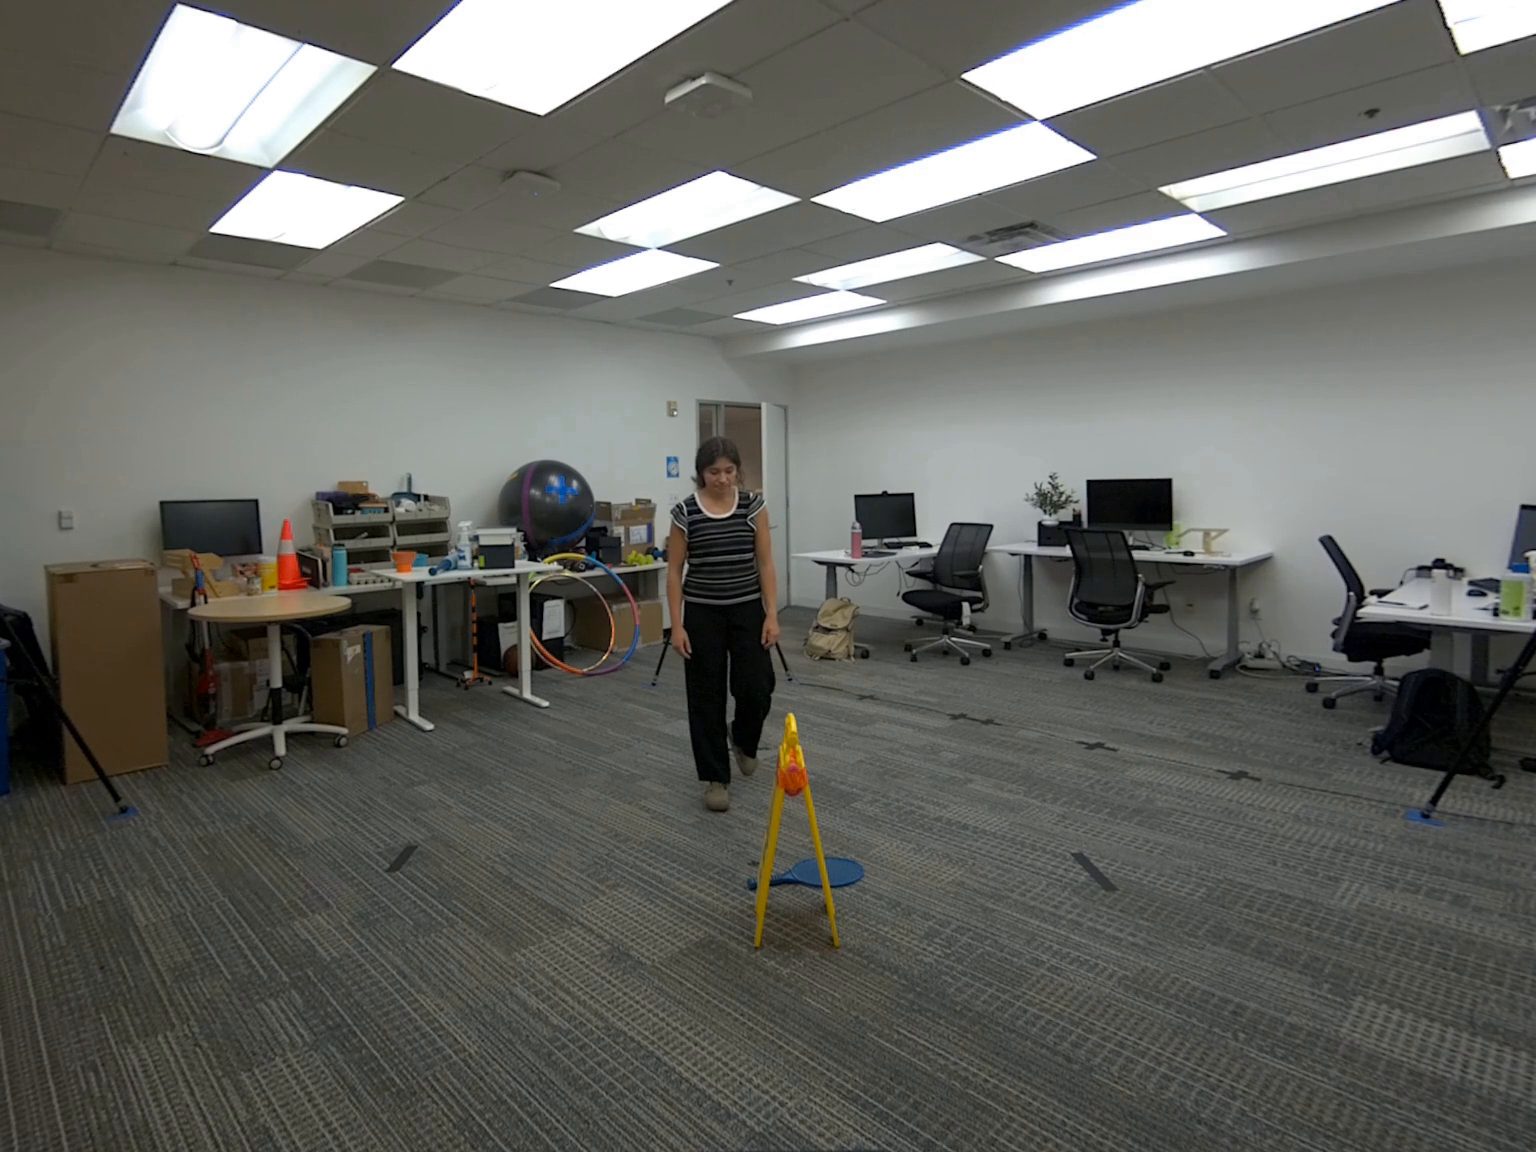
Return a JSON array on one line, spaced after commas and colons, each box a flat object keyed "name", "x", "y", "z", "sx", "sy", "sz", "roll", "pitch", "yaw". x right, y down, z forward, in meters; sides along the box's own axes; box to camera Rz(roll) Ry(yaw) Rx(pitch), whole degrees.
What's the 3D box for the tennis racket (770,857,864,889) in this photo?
[{"name": "tennis racket", "x": 0.133, "y": 1.036, "z": 2.987, "sx": 0.425, "sy": 0.031, "sz": 0.218, "roll": -2, "pitch": 6, "yaw": -20}]
